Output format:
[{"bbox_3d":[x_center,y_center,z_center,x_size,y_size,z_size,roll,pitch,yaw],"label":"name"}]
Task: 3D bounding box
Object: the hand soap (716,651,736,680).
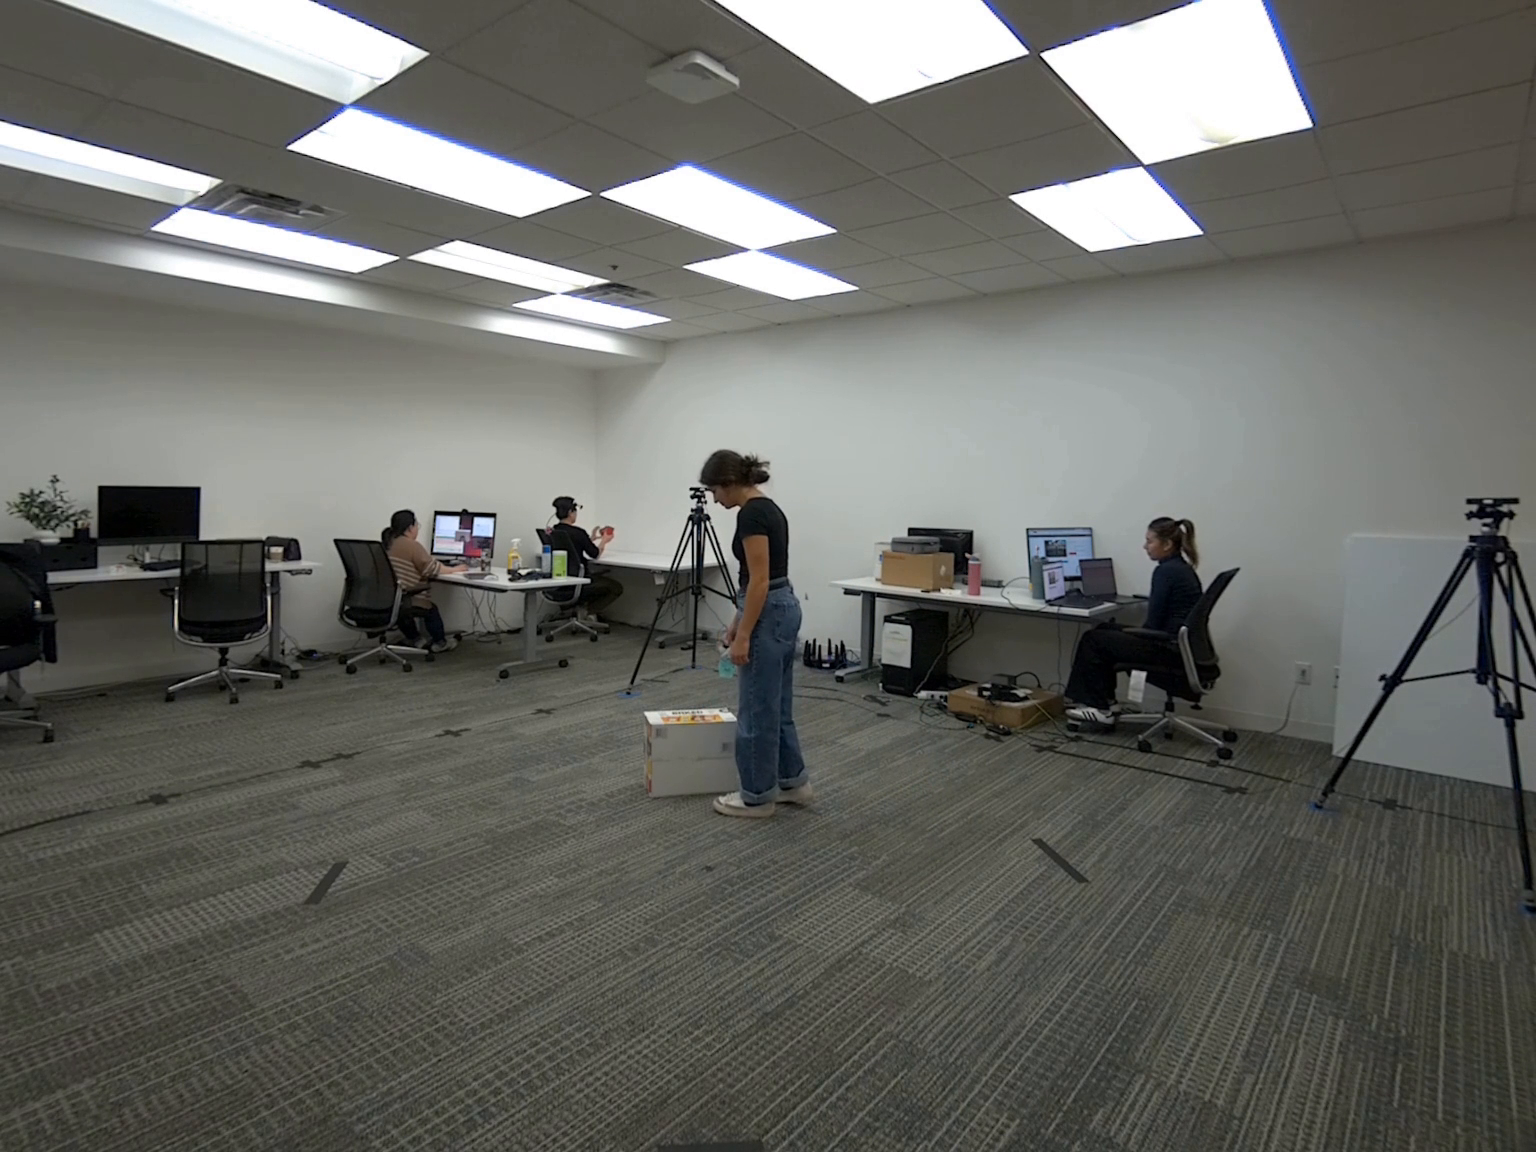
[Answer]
[{"bbox_3d":[-0.203,0.379,3.893,0.084,0.167,0.044,6,5,-7],"label":"hand soap"}]
